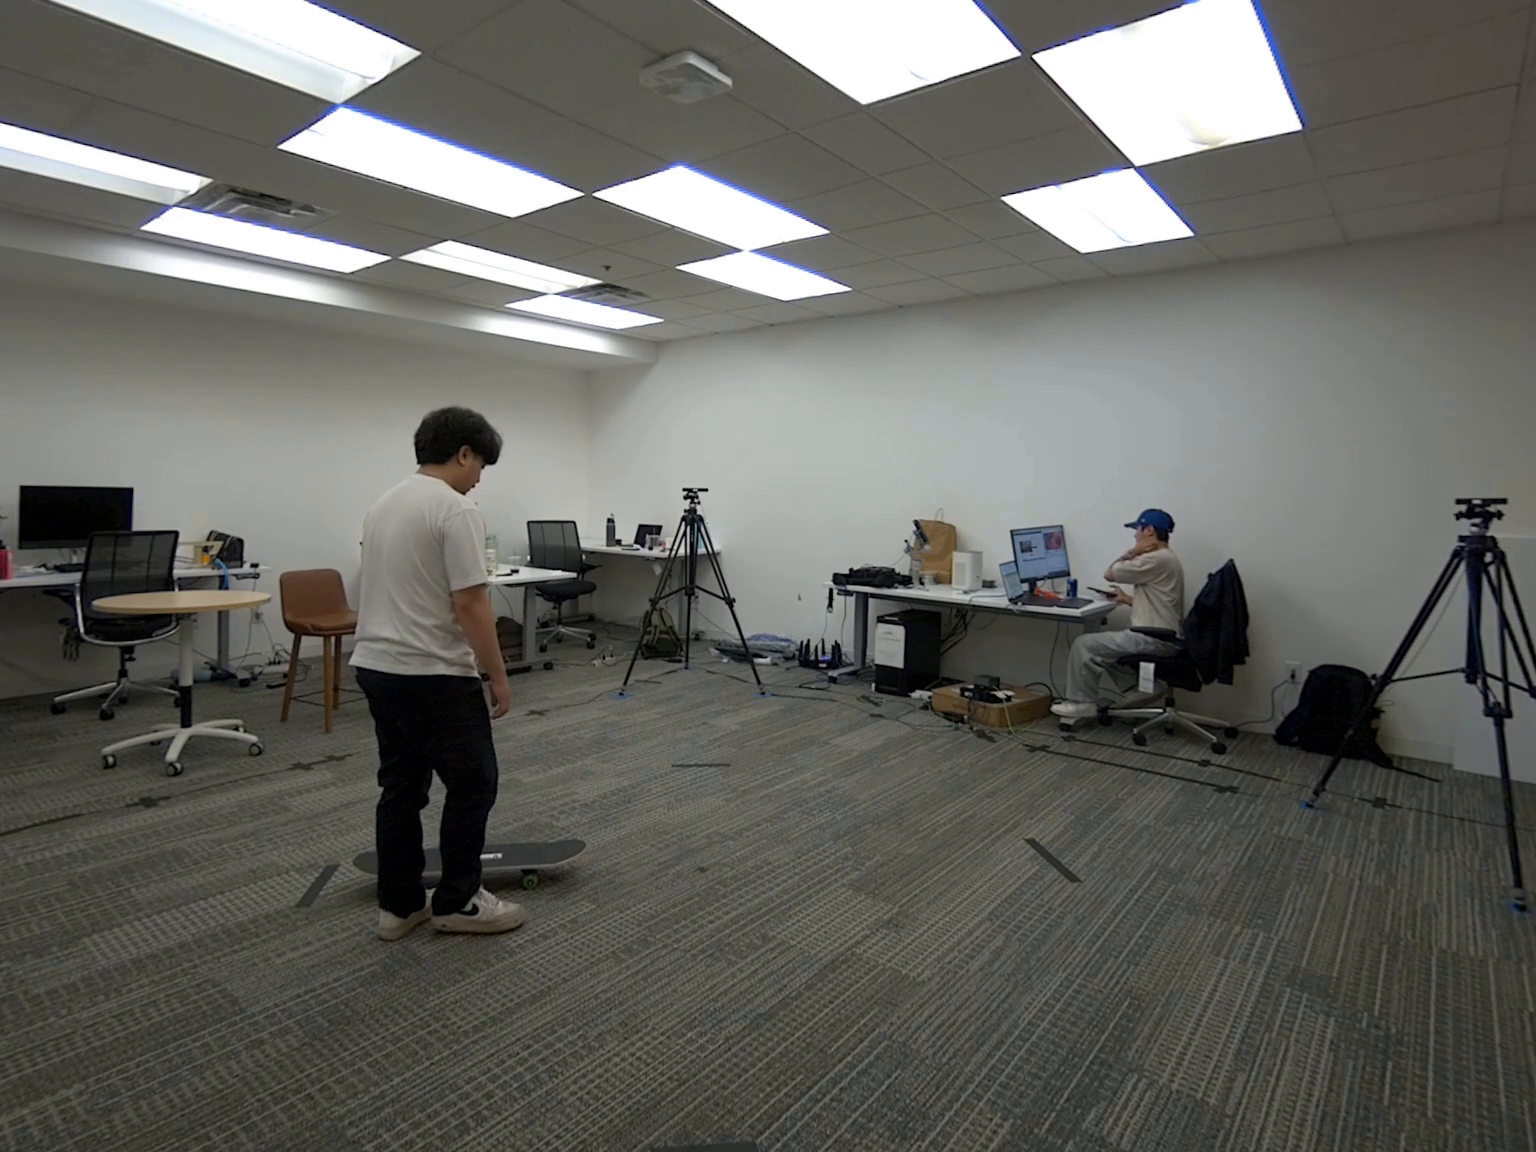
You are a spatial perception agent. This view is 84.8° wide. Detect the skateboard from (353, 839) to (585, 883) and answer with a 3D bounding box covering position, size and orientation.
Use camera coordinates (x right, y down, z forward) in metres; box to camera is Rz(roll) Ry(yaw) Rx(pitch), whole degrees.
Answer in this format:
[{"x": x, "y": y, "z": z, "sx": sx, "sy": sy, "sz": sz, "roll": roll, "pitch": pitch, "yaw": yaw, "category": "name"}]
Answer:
[{"x": -1.033, "y": 1.009, "z": 2.972, "sx": 0.776, "sy": 0.110, "sz": 0.196, "roll": -1, "pitch": 5, "yaw": -11, "category": "skateboard"}]
